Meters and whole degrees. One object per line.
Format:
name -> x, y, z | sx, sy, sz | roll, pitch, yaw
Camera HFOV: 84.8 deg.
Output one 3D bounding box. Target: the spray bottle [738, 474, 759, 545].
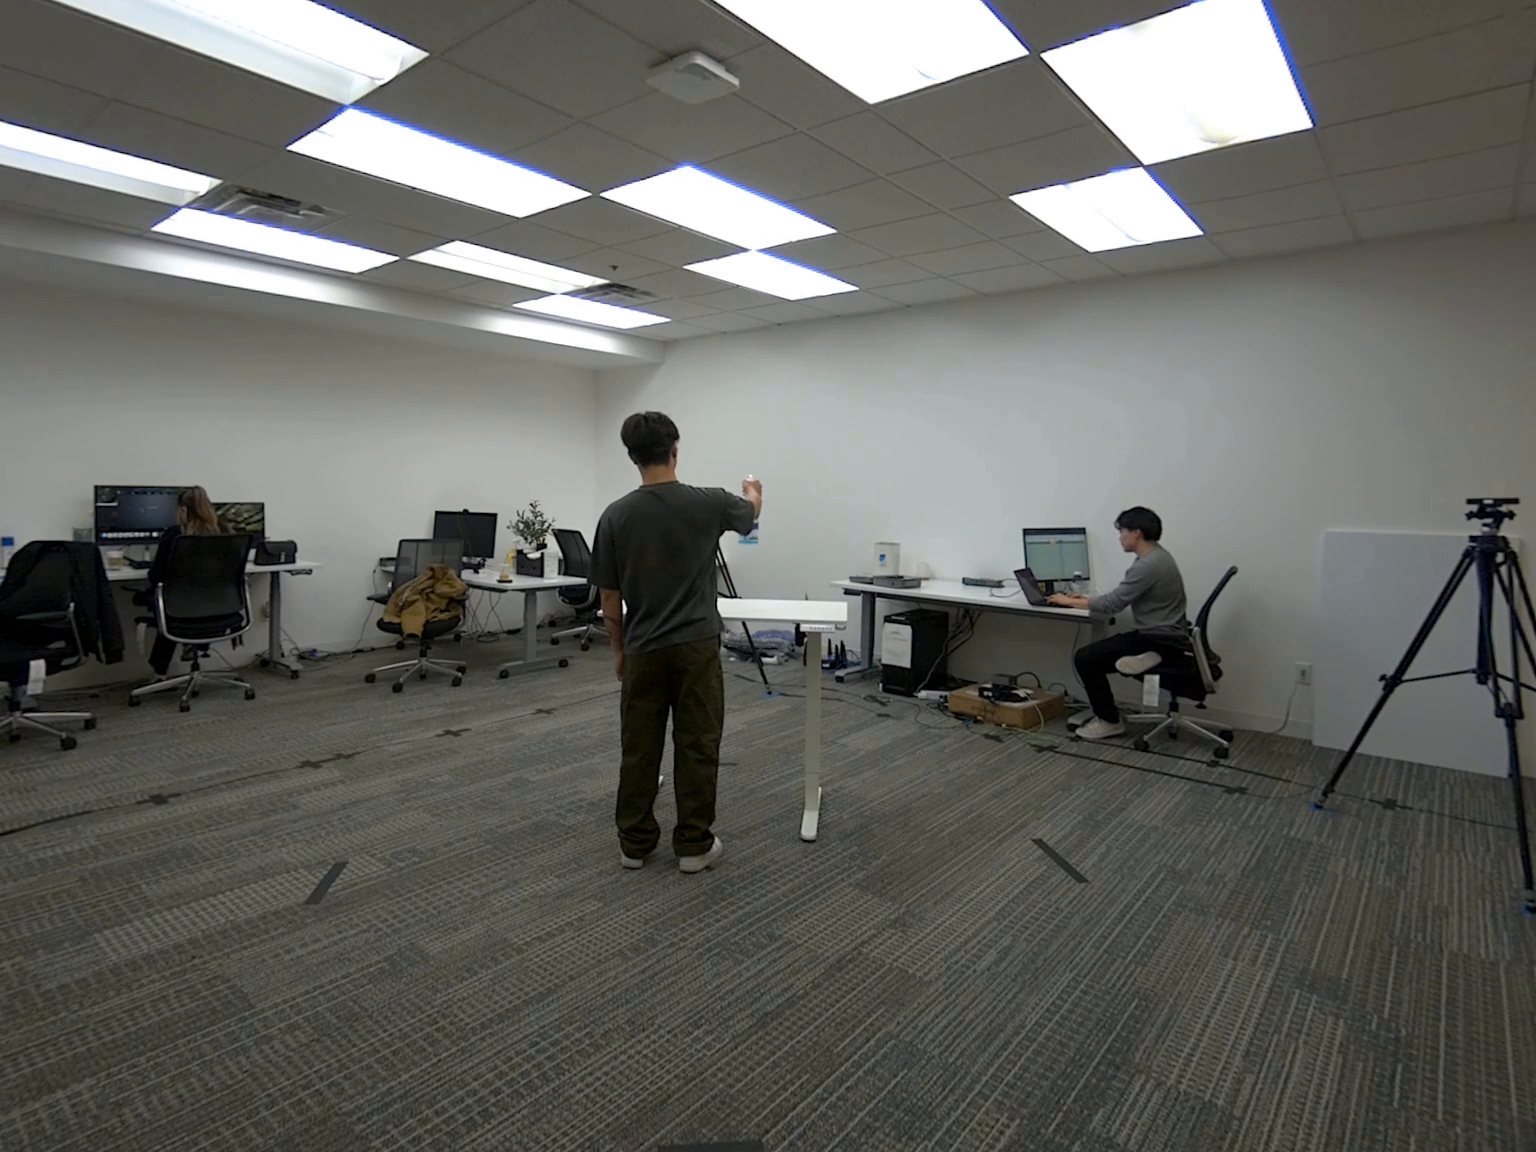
spray bottle -> -0.087, -0.285, 3.632 | 0.089, 0.297, 0.088 | 2, 1, 17
